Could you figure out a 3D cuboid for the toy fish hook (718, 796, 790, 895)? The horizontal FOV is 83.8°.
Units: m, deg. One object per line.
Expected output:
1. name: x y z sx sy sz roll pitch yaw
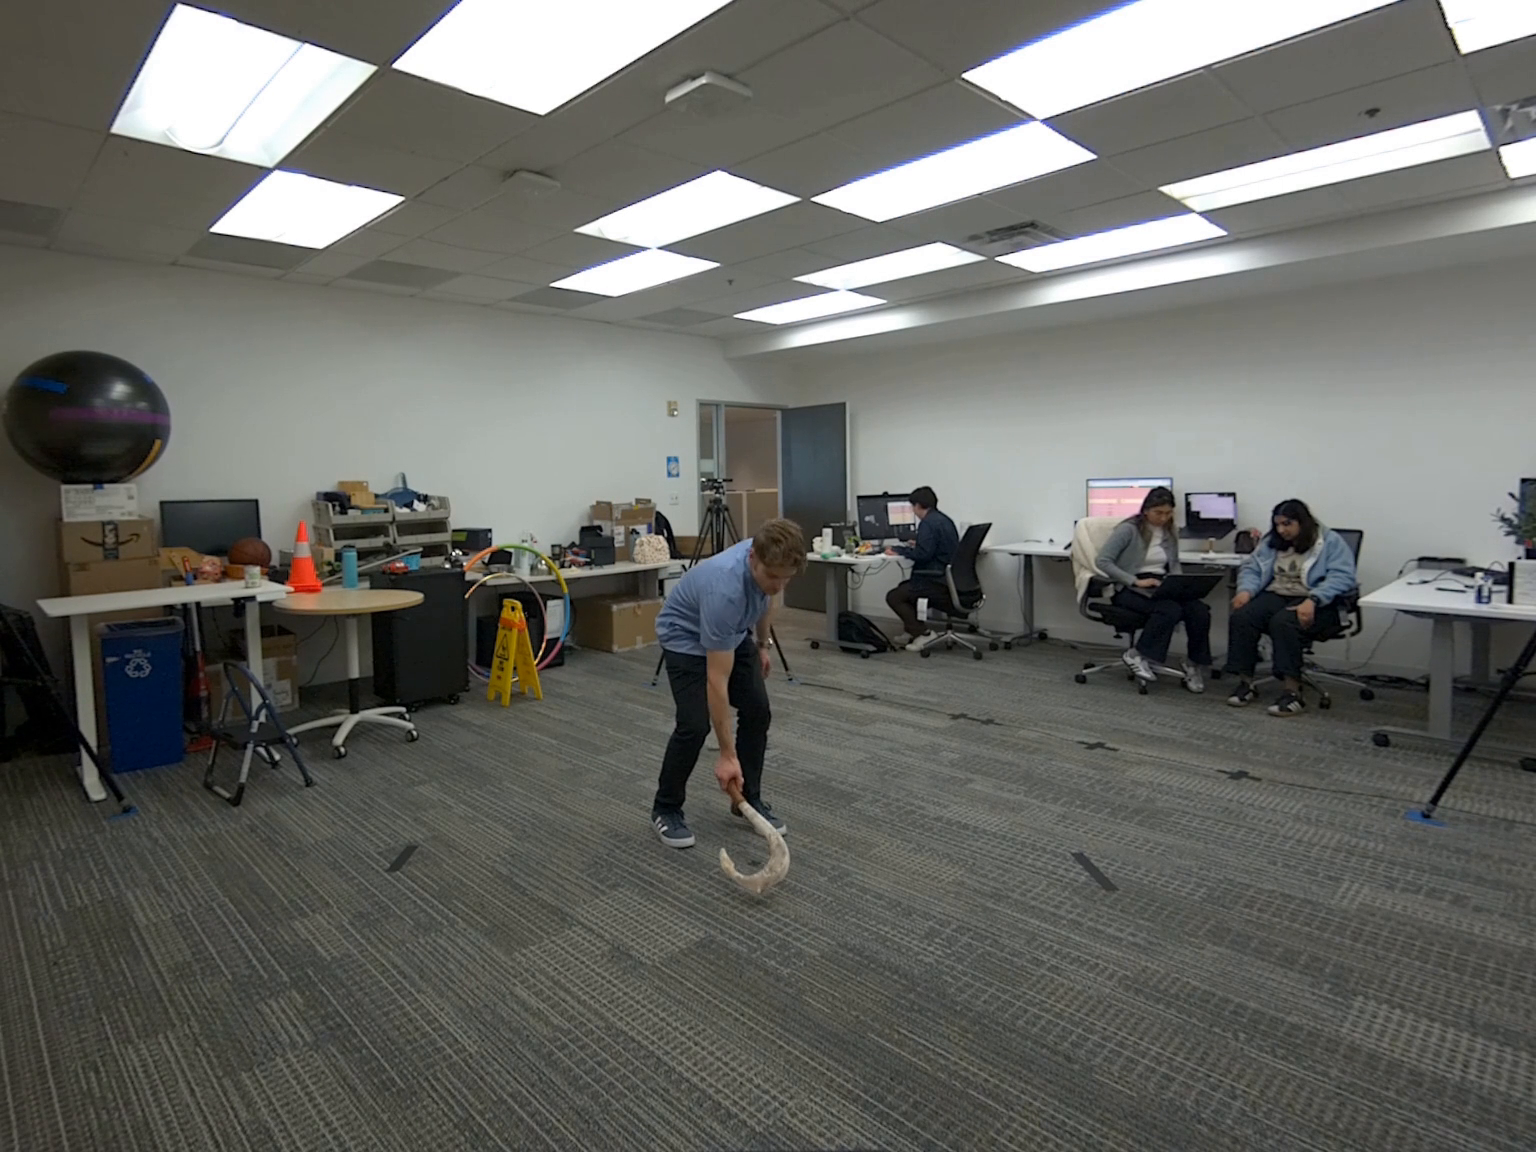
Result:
1. toy fish hook: -0.102 0.851 2.961 0.223 0.047 0.527 -24 43 -13
